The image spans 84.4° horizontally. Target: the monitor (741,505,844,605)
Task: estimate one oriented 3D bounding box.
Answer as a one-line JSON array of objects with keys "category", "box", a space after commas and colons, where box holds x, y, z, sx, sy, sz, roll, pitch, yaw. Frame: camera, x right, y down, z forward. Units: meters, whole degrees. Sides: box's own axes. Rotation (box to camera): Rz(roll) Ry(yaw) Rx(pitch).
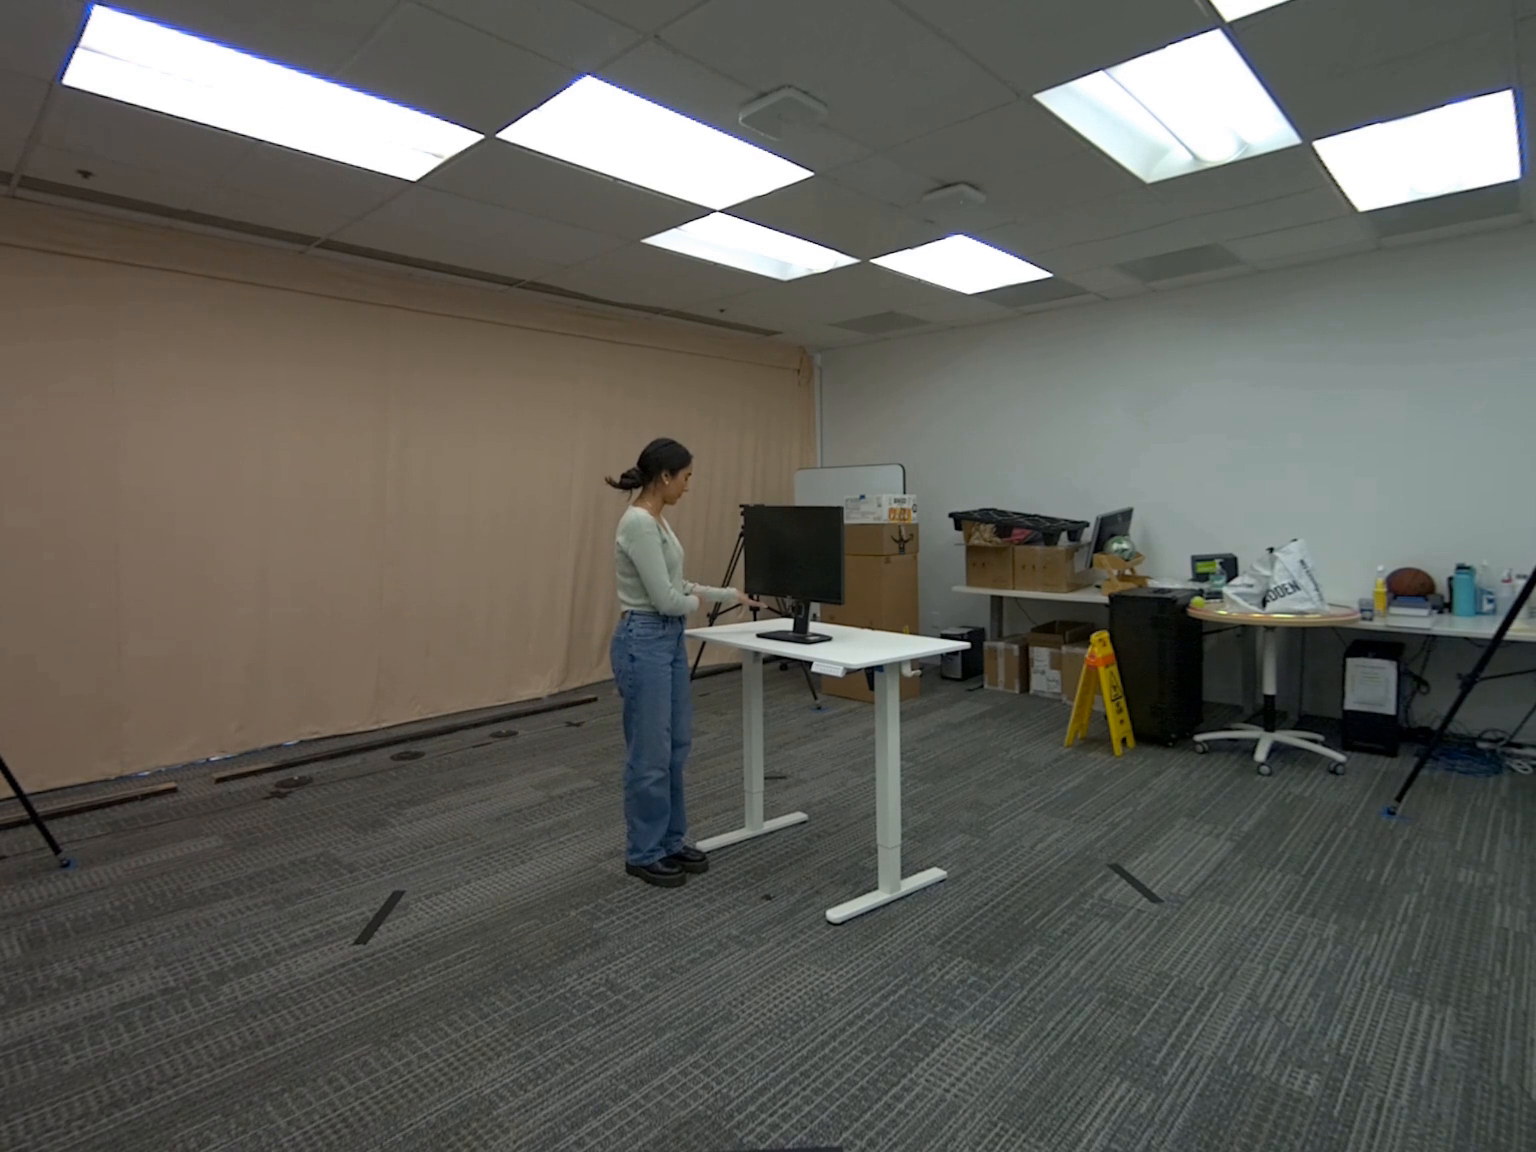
[{"category": "monitor", "box": [0.110, -0.006, 3.183, 0.182, 0.520, 0.557, -10, 10, -41]}]
